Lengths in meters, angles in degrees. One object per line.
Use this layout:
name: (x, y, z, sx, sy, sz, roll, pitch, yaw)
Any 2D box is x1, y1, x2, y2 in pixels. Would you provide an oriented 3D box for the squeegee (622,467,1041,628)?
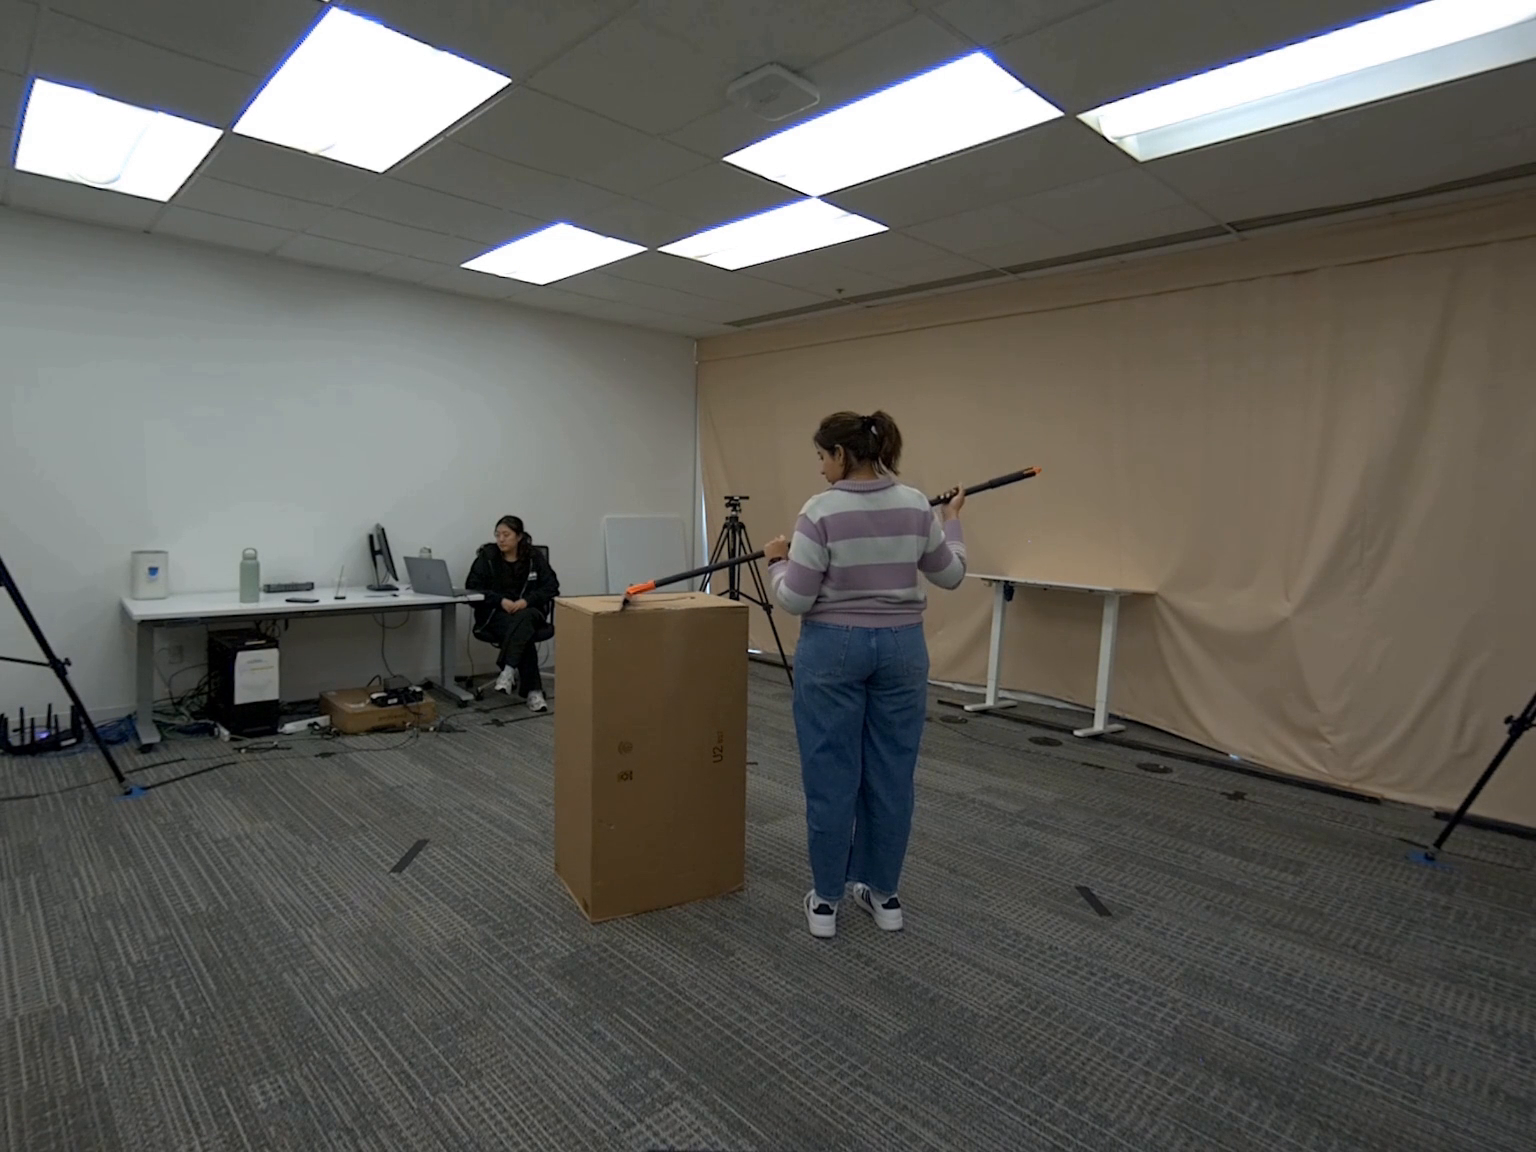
squeegee: (0.212, -0.153, 2.934, 1.537, 0.052, 0.441, -18, 10, -1)
